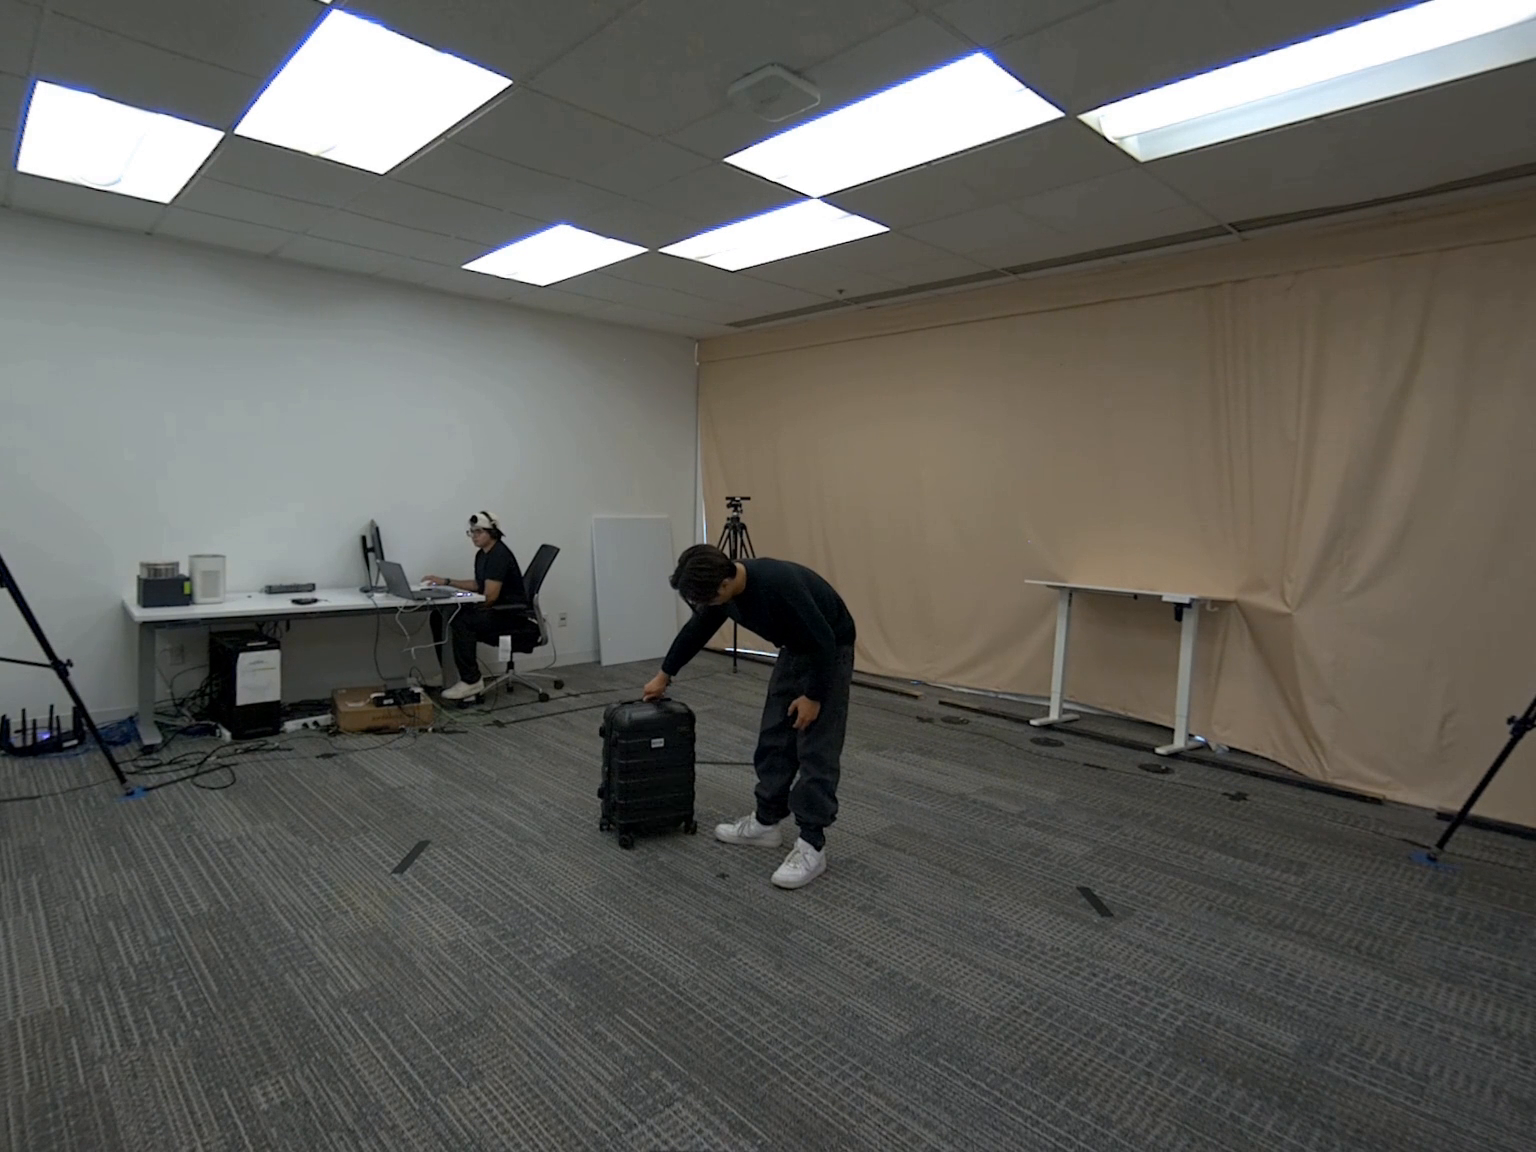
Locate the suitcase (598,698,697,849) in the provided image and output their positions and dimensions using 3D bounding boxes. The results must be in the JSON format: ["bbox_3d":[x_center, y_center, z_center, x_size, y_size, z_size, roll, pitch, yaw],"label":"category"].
[{"bbox_3d":[-0.497,0.783,3.490,0.368,0.548,0.254,0,4,-29],"label":"suitcase"}]
